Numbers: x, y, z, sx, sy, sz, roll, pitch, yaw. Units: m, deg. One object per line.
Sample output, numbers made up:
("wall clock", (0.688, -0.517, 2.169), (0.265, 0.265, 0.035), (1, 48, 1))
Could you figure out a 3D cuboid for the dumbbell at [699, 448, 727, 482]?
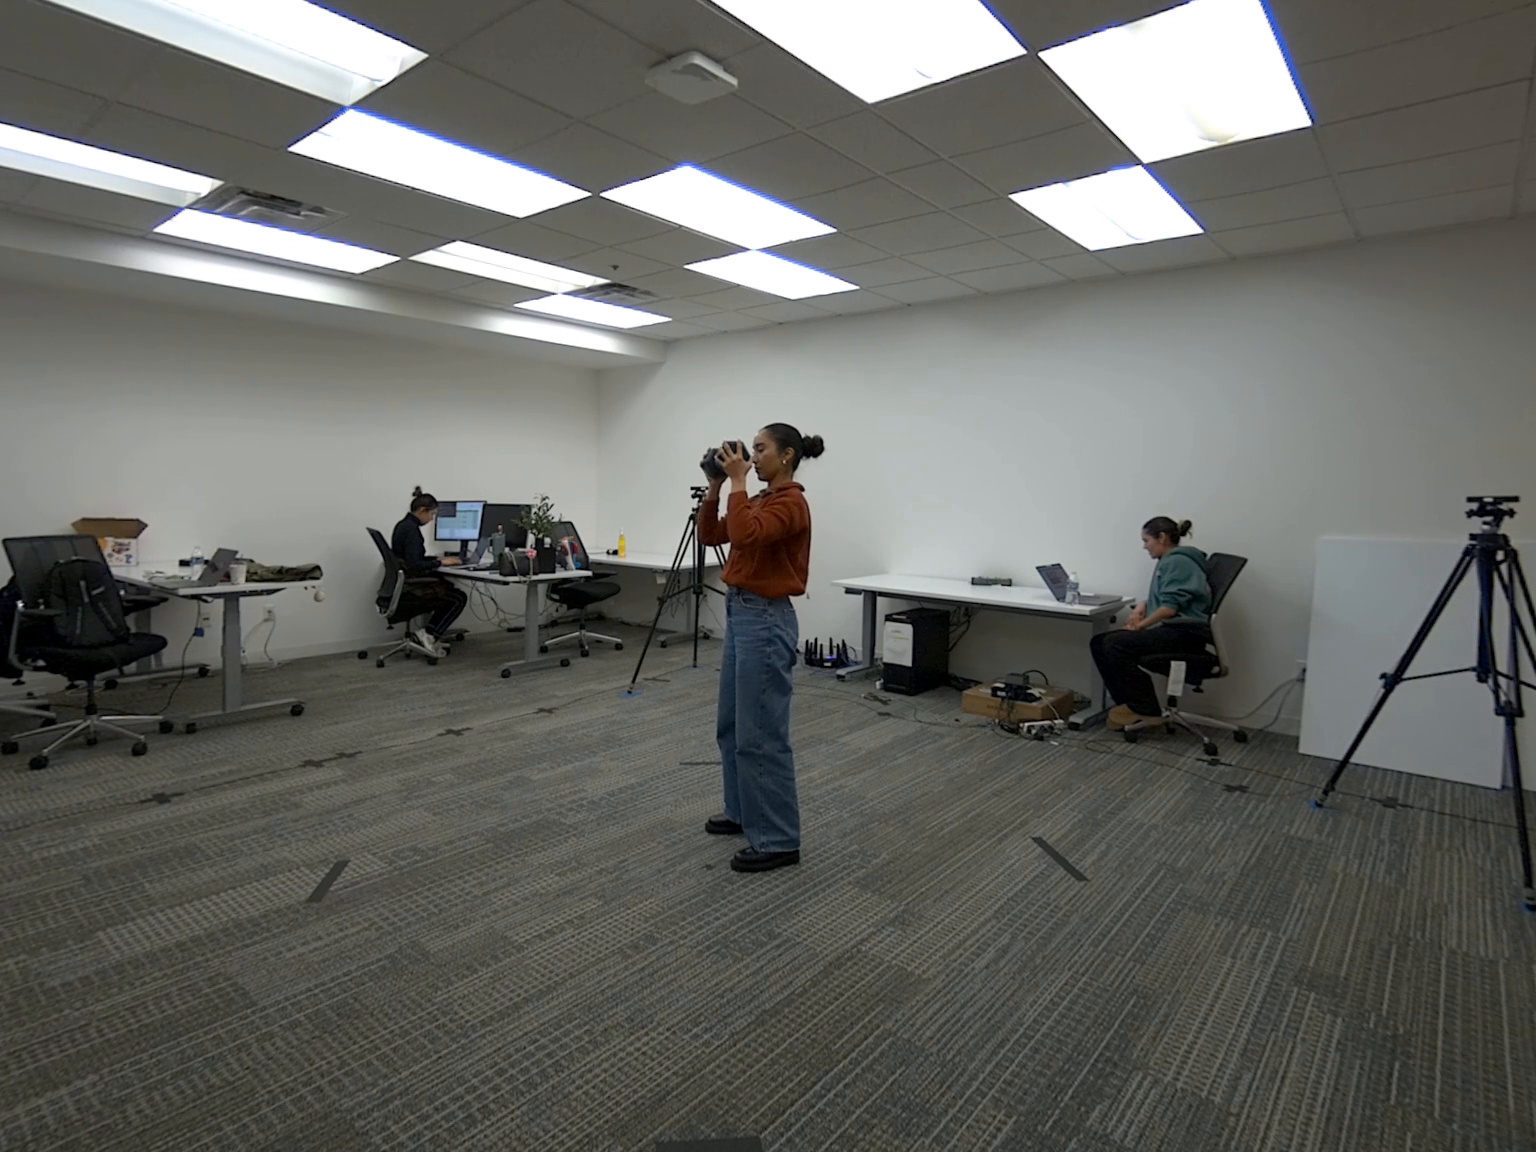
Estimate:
("dumbbell", (-0.163, -0.447, 3.220), (0.107, 0.123, 0.298), (35, -9, -14))
